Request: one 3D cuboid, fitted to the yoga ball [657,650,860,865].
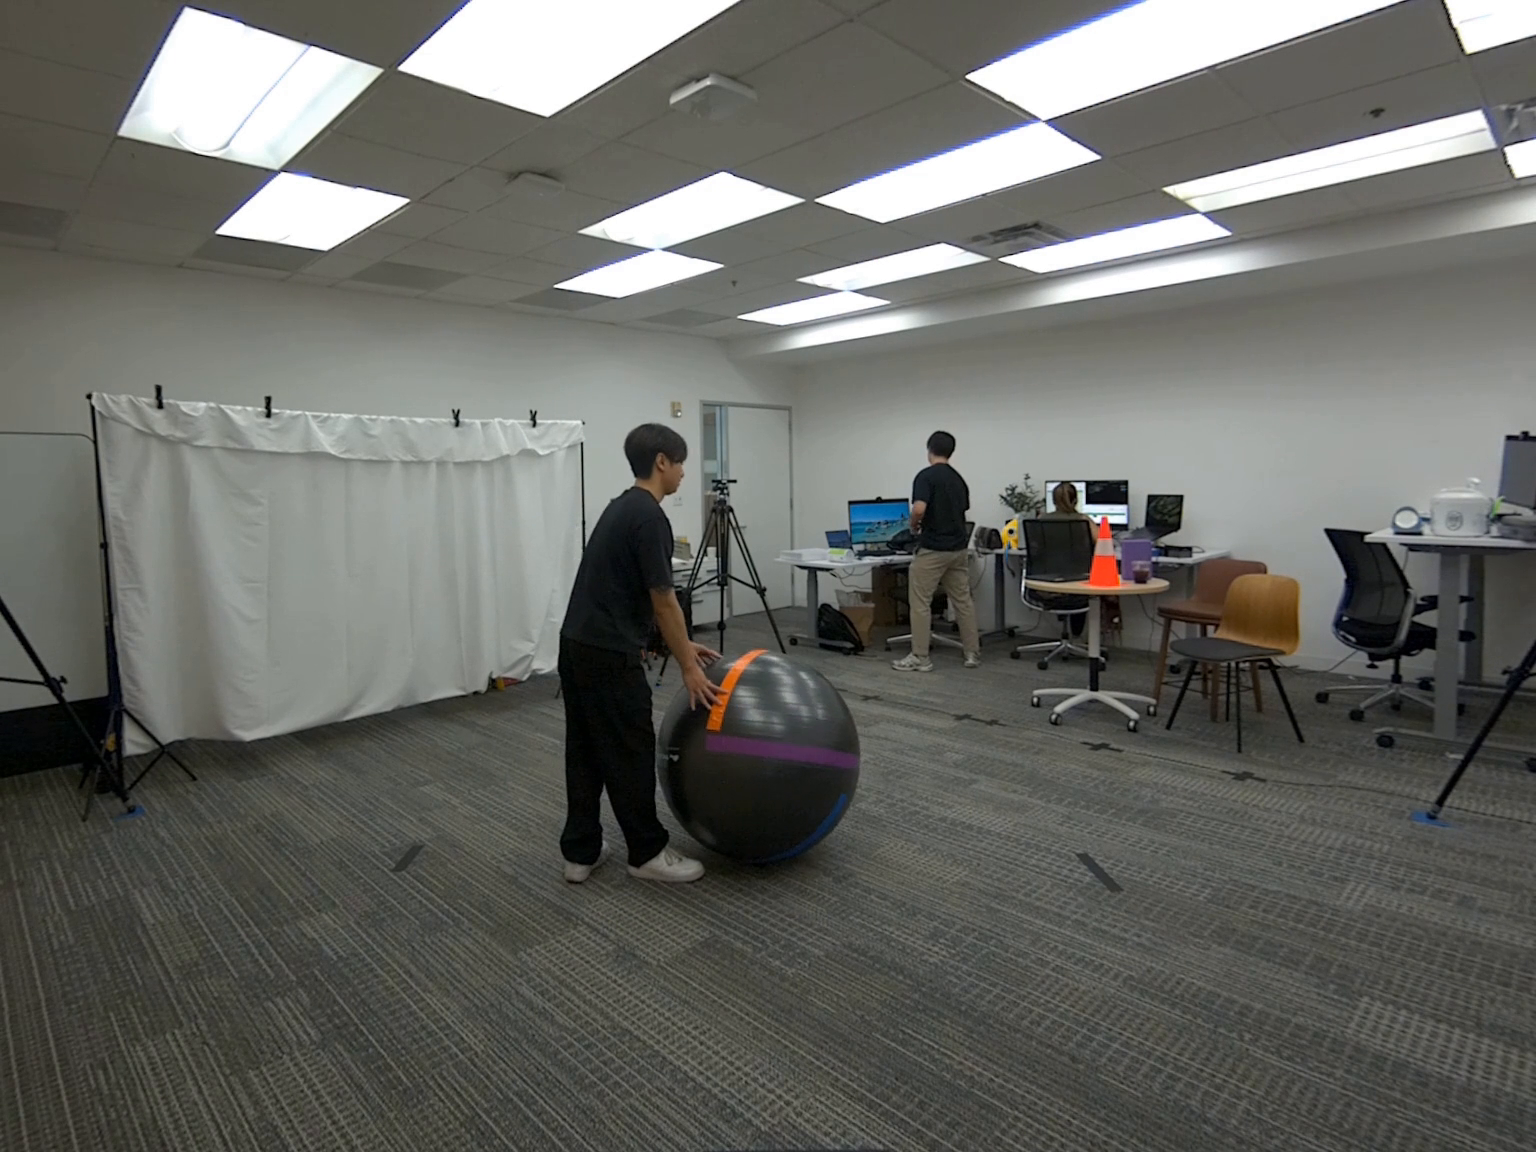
[{"bbox_3d":[-0.031,0.667,3.198,0.757,0.755,0.762,-1,5,-2],"label":"yoga ball"}]
